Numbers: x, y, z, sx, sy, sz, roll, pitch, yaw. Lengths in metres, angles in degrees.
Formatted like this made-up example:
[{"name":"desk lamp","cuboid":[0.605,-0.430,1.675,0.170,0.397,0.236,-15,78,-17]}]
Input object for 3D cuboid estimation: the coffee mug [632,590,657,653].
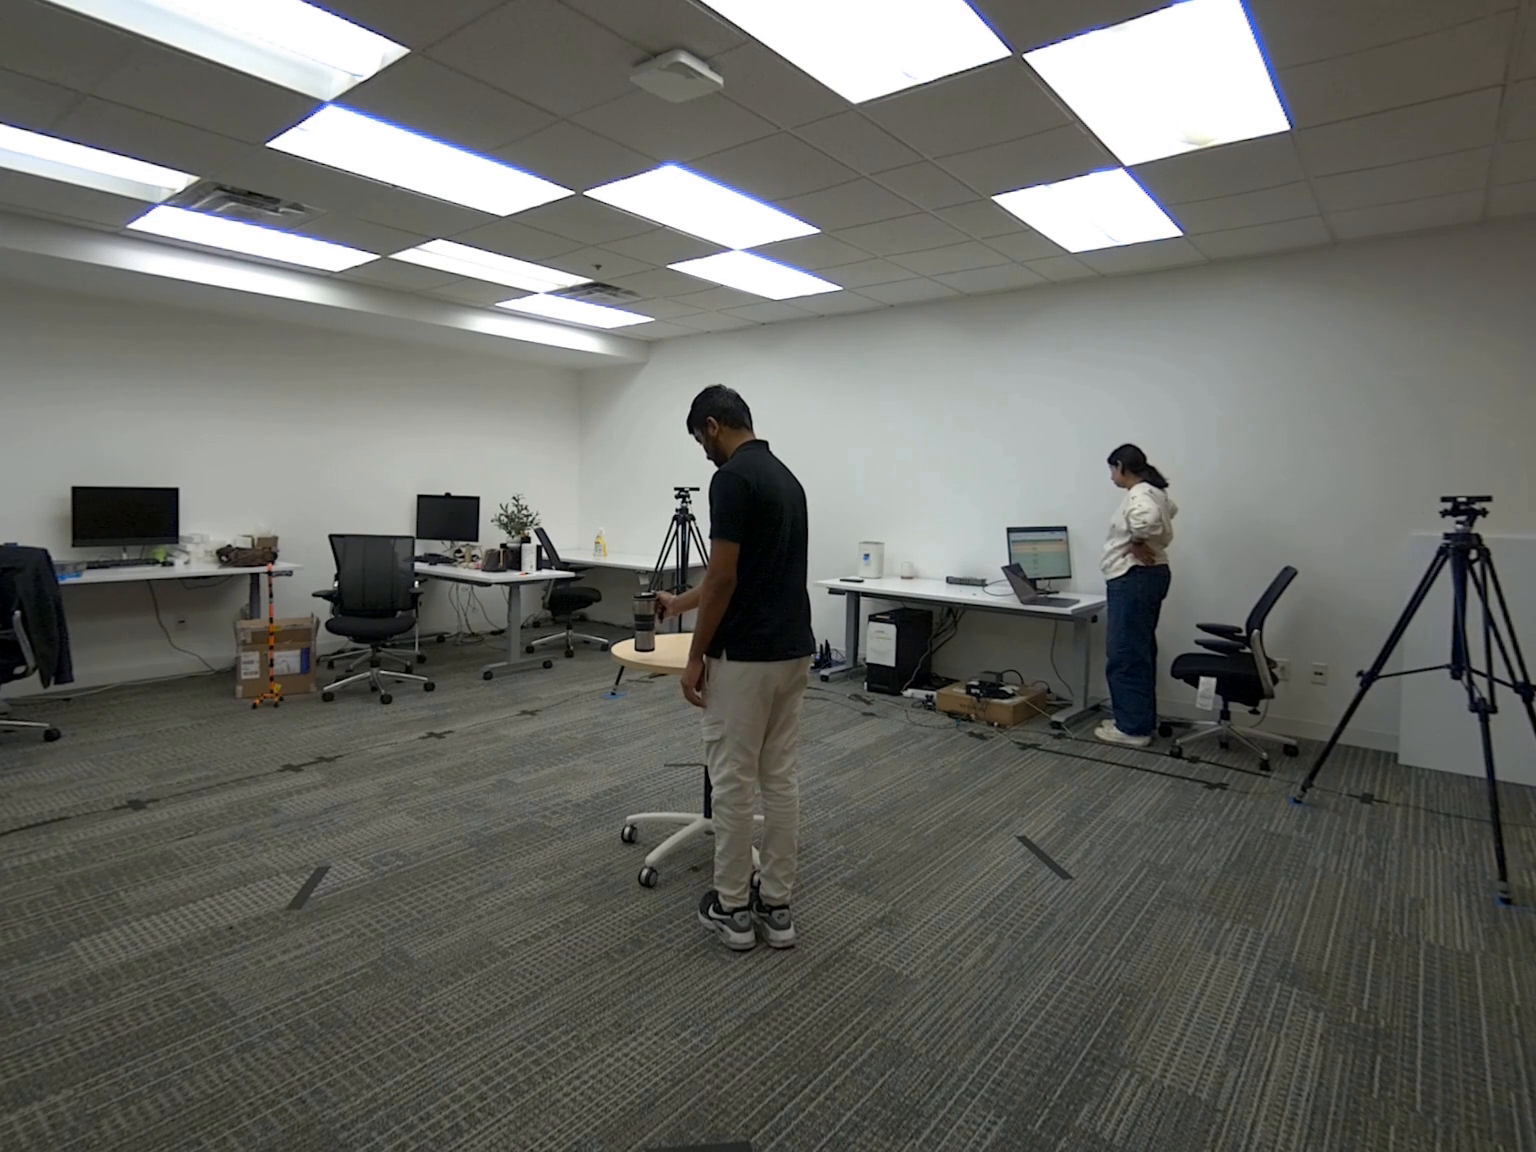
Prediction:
[{"name":"coffee mug","cuboid":[-0.418,0.161,2.963,0.125,0.203,0.085,0,-3,23]}]
